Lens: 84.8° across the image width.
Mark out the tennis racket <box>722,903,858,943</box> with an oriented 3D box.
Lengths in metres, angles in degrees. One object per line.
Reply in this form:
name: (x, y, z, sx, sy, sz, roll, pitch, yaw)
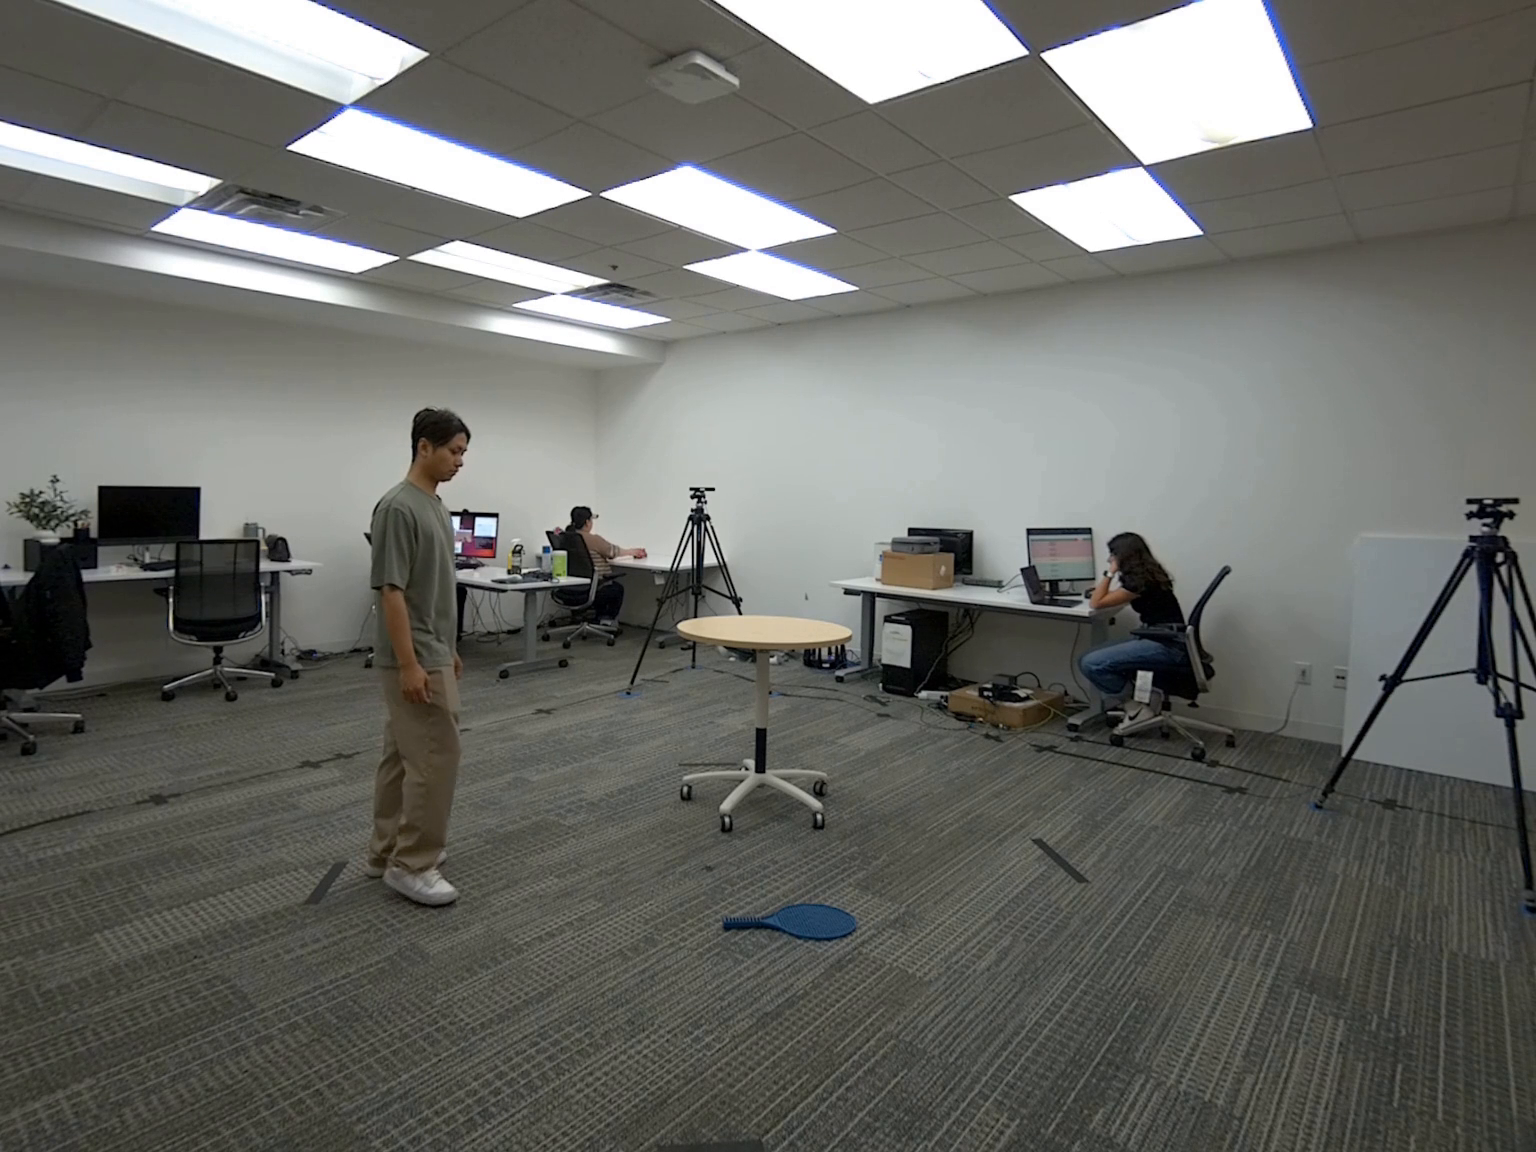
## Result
tennis racket: (0.061, 1.096, 2.714, 0.428, 0.031, 0.217, 1, 6, -11)
